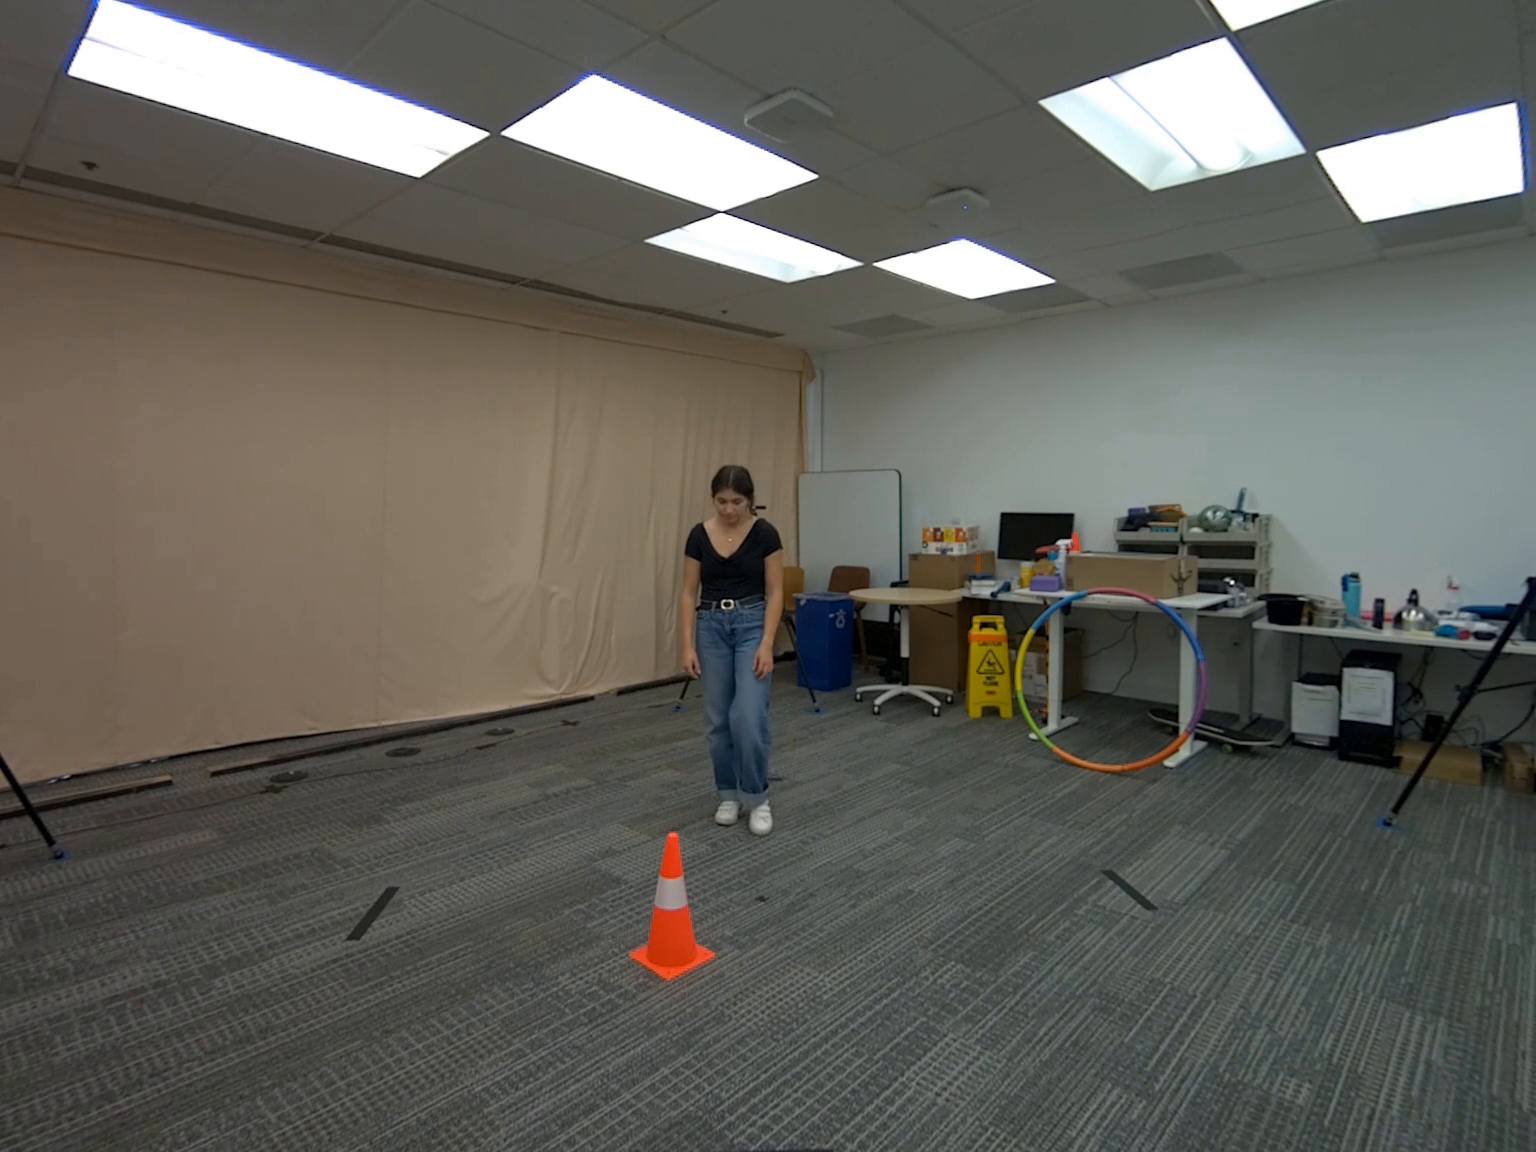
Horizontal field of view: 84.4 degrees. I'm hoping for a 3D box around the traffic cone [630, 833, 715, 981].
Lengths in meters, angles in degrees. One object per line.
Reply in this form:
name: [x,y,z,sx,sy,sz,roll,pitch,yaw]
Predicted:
traffic cone: [-0.294,0.984,2.608,0.198,0.383,0.210,-2,4,-45]
